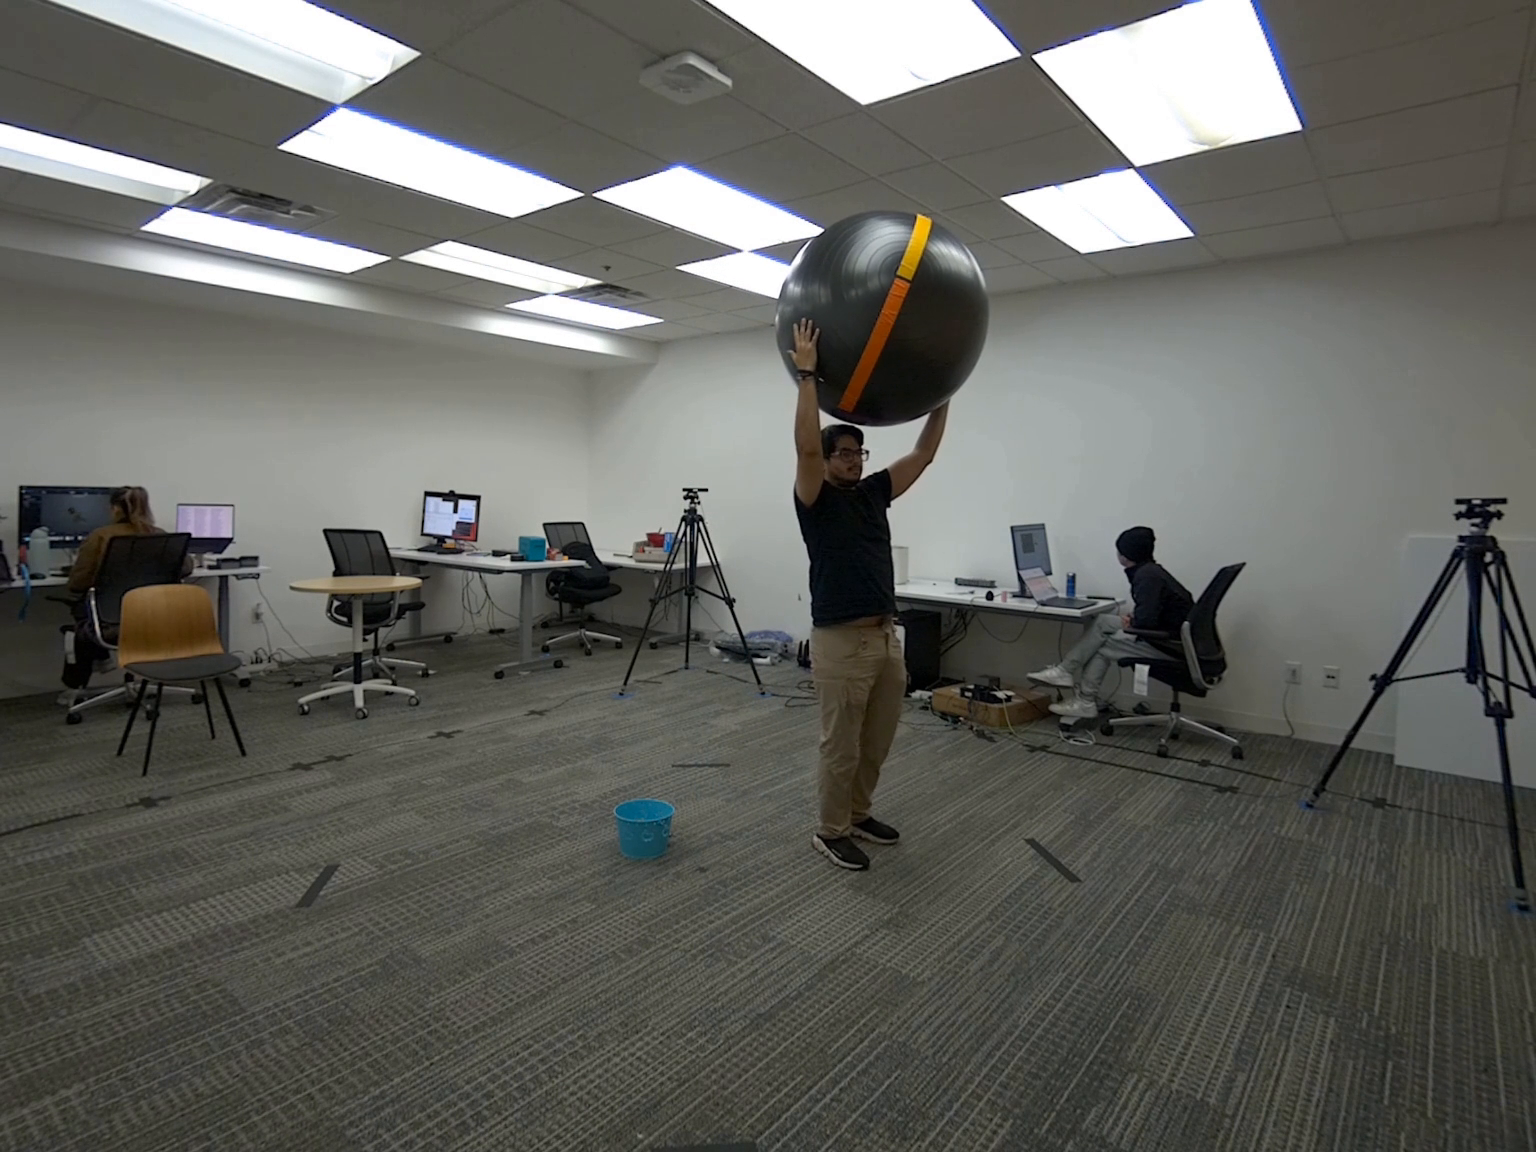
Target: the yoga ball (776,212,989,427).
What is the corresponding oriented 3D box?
[{"bbox_3d":[0.400,-0.923,3.080,0.757,0.756,0.761,1,4,-2],"label":"yoga ball"}]
